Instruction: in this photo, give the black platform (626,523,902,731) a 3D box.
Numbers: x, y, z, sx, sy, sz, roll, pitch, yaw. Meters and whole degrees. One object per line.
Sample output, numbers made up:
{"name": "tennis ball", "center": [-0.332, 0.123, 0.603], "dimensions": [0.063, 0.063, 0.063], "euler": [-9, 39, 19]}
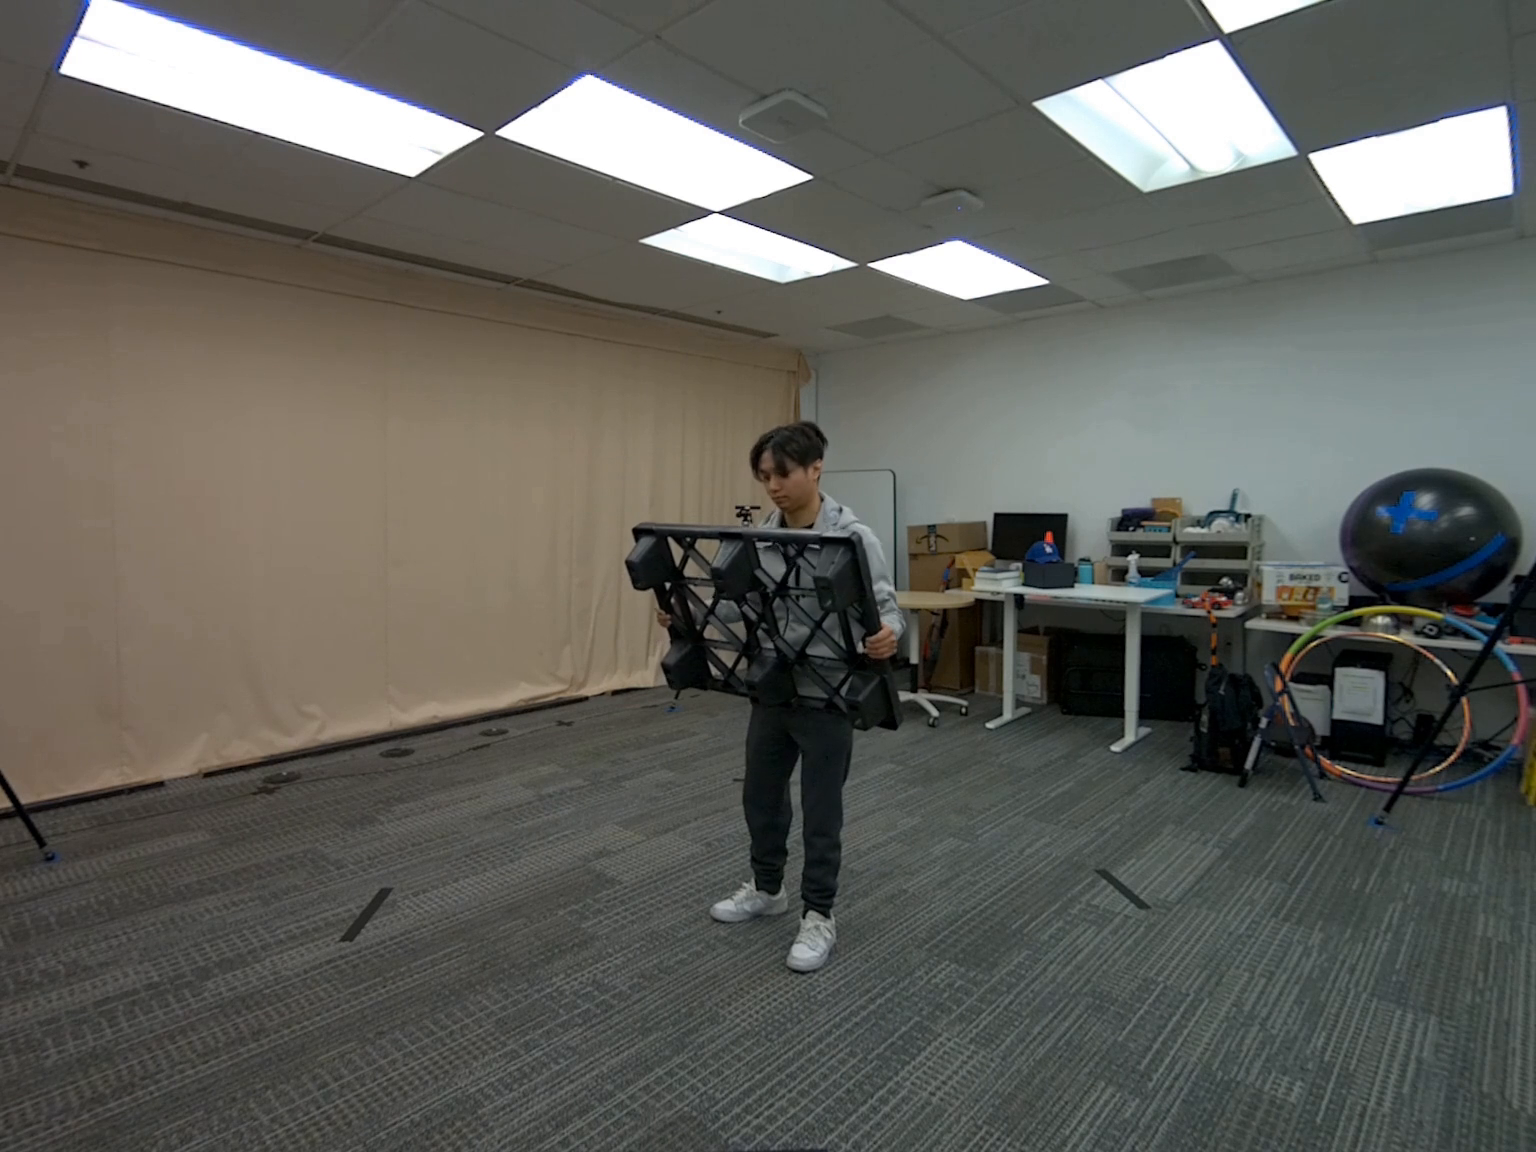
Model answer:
{"name": "black platform", "center": [-0.054, 0.161, 2.436], "dimensions": [0.832, 0.594, 0.141], "euler": [5, 29, 40]}
